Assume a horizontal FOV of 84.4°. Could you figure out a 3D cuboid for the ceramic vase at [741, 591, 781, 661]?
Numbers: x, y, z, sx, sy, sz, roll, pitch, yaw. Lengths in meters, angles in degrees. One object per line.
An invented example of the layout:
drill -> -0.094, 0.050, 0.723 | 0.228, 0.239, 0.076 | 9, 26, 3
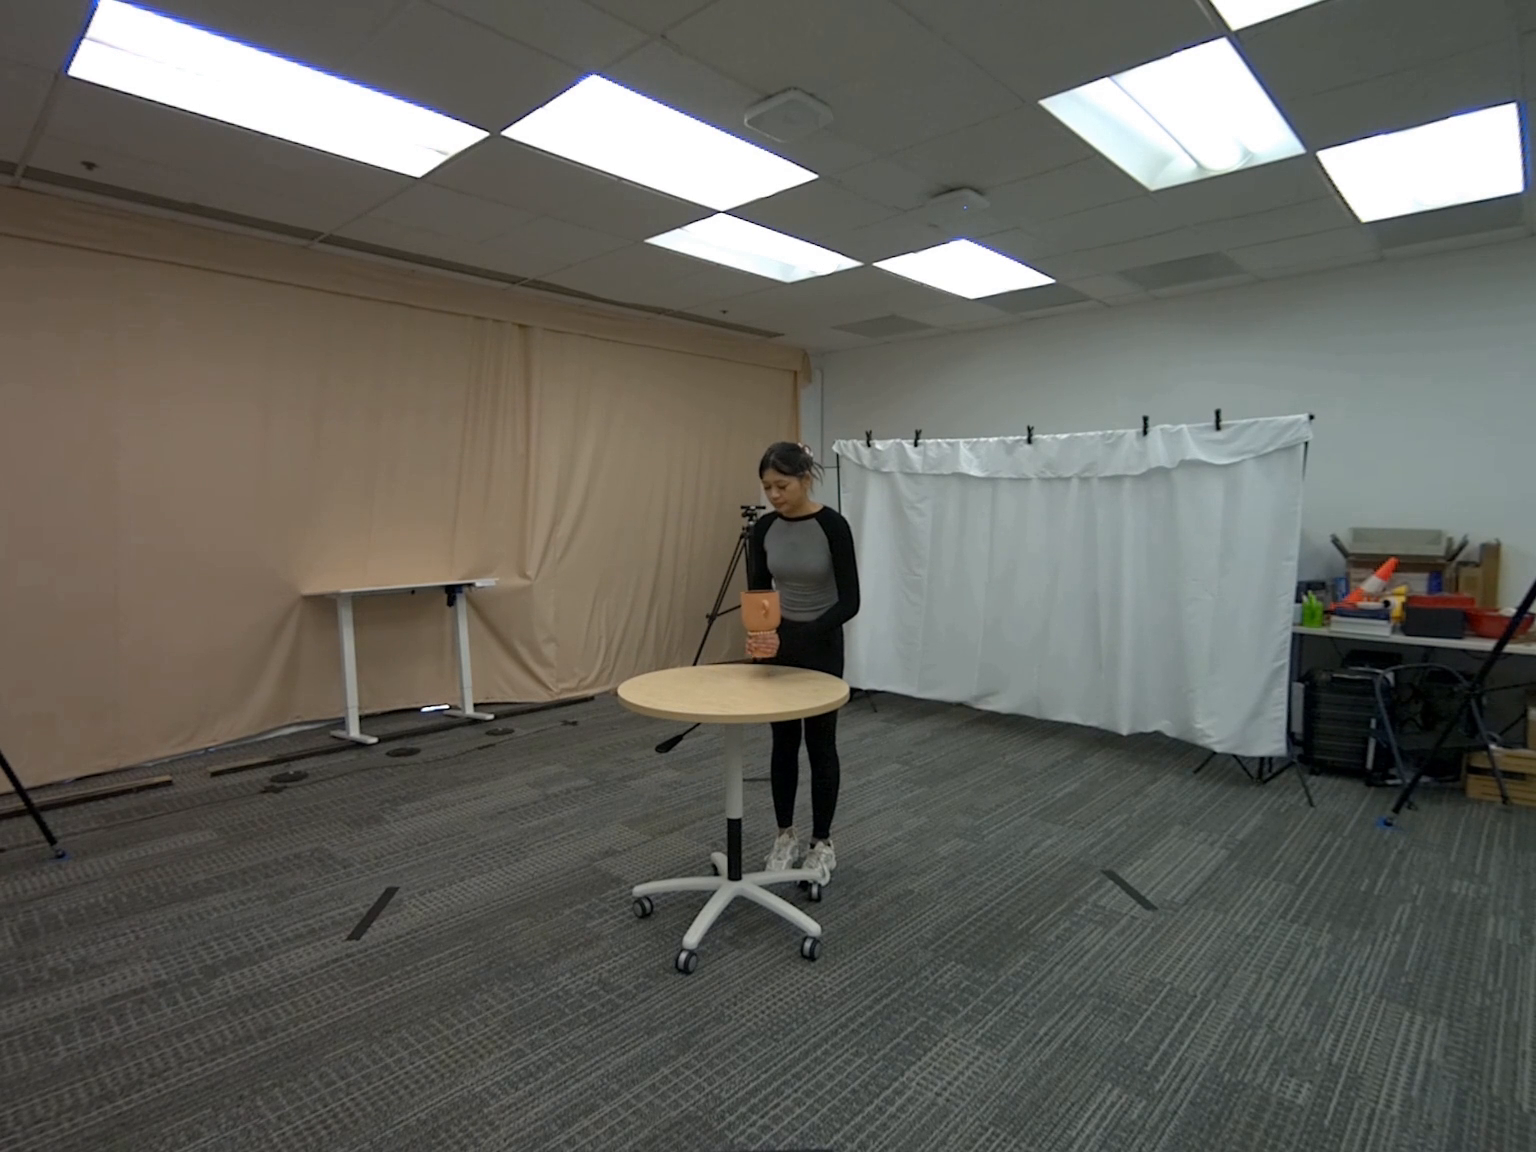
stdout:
ceramic vase -> -0.012, 0.163, 2.918 | 0.138, 0.219, 0.155 | -1, 3, 27
